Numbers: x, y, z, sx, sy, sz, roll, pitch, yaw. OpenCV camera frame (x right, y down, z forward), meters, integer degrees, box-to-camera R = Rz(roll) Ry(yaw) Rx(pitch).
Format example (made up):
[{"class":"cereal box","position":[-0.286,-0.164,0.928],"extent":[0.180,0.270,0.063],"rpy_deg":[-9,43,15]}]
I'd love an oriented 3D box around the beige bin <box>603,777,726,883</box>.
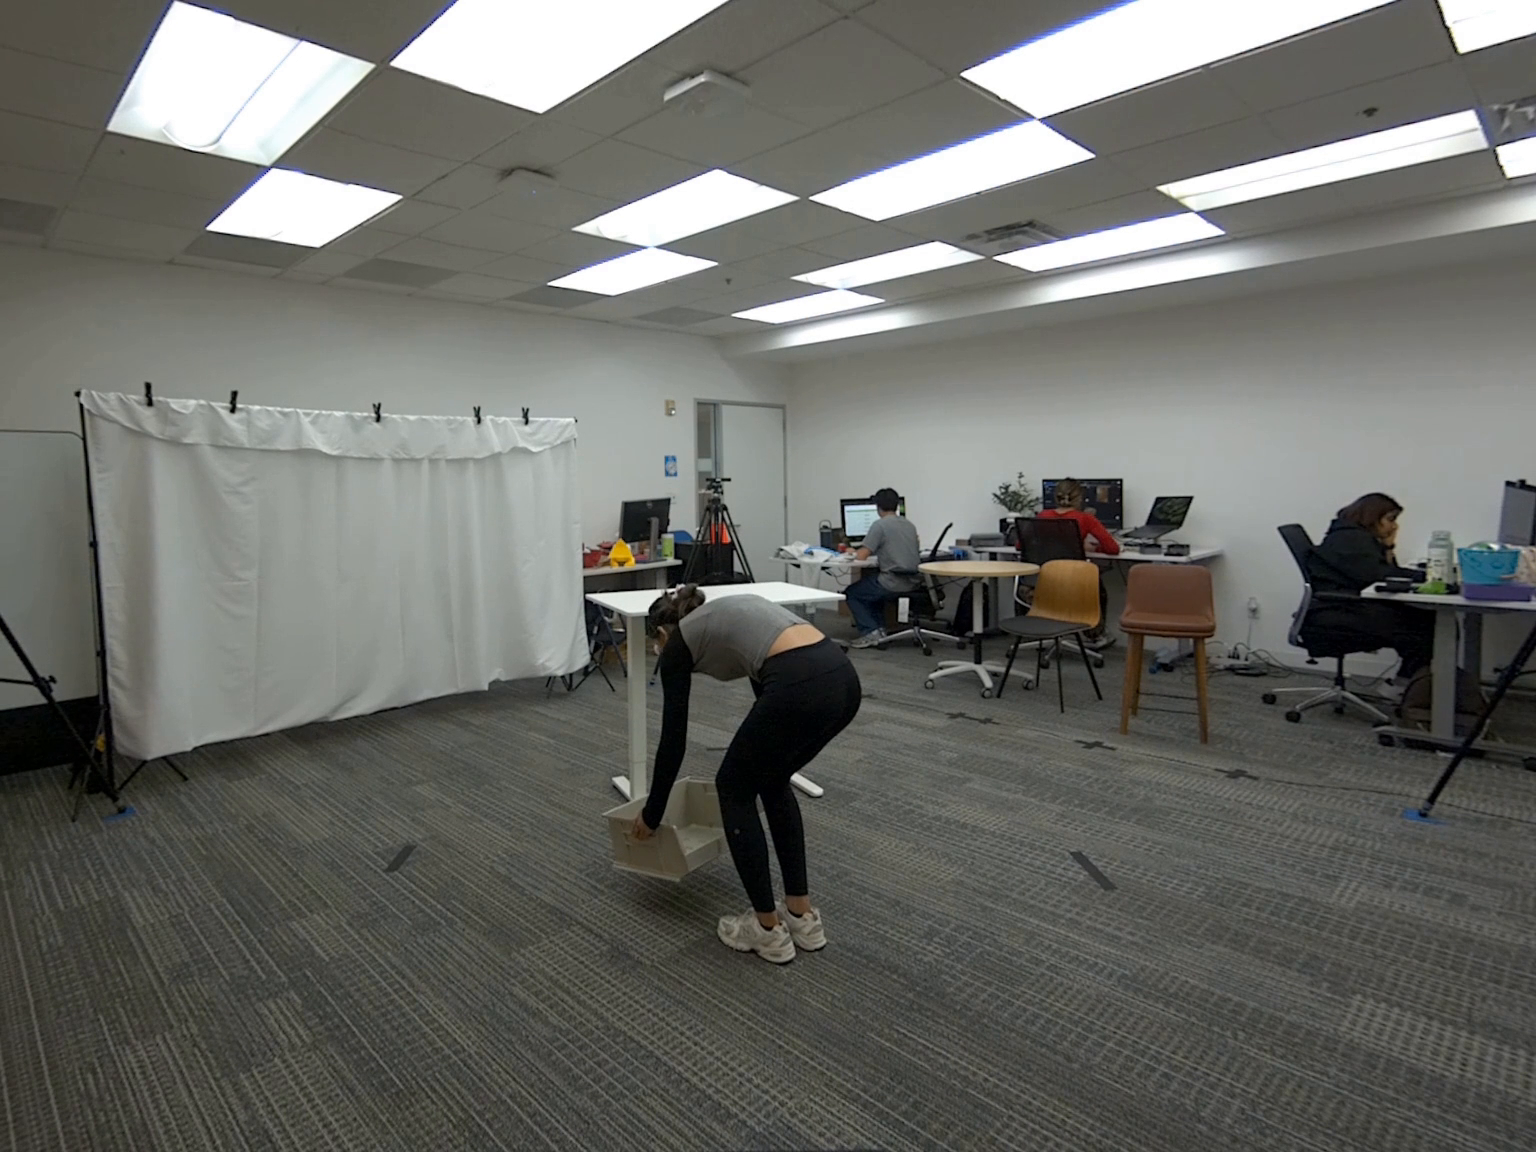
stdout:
[{"class":"beige bin","position":[-0.272,0.841,2.874],"extent":[0.386,0.189,0.412],"rpy_deg":[-8,2,41]}]
